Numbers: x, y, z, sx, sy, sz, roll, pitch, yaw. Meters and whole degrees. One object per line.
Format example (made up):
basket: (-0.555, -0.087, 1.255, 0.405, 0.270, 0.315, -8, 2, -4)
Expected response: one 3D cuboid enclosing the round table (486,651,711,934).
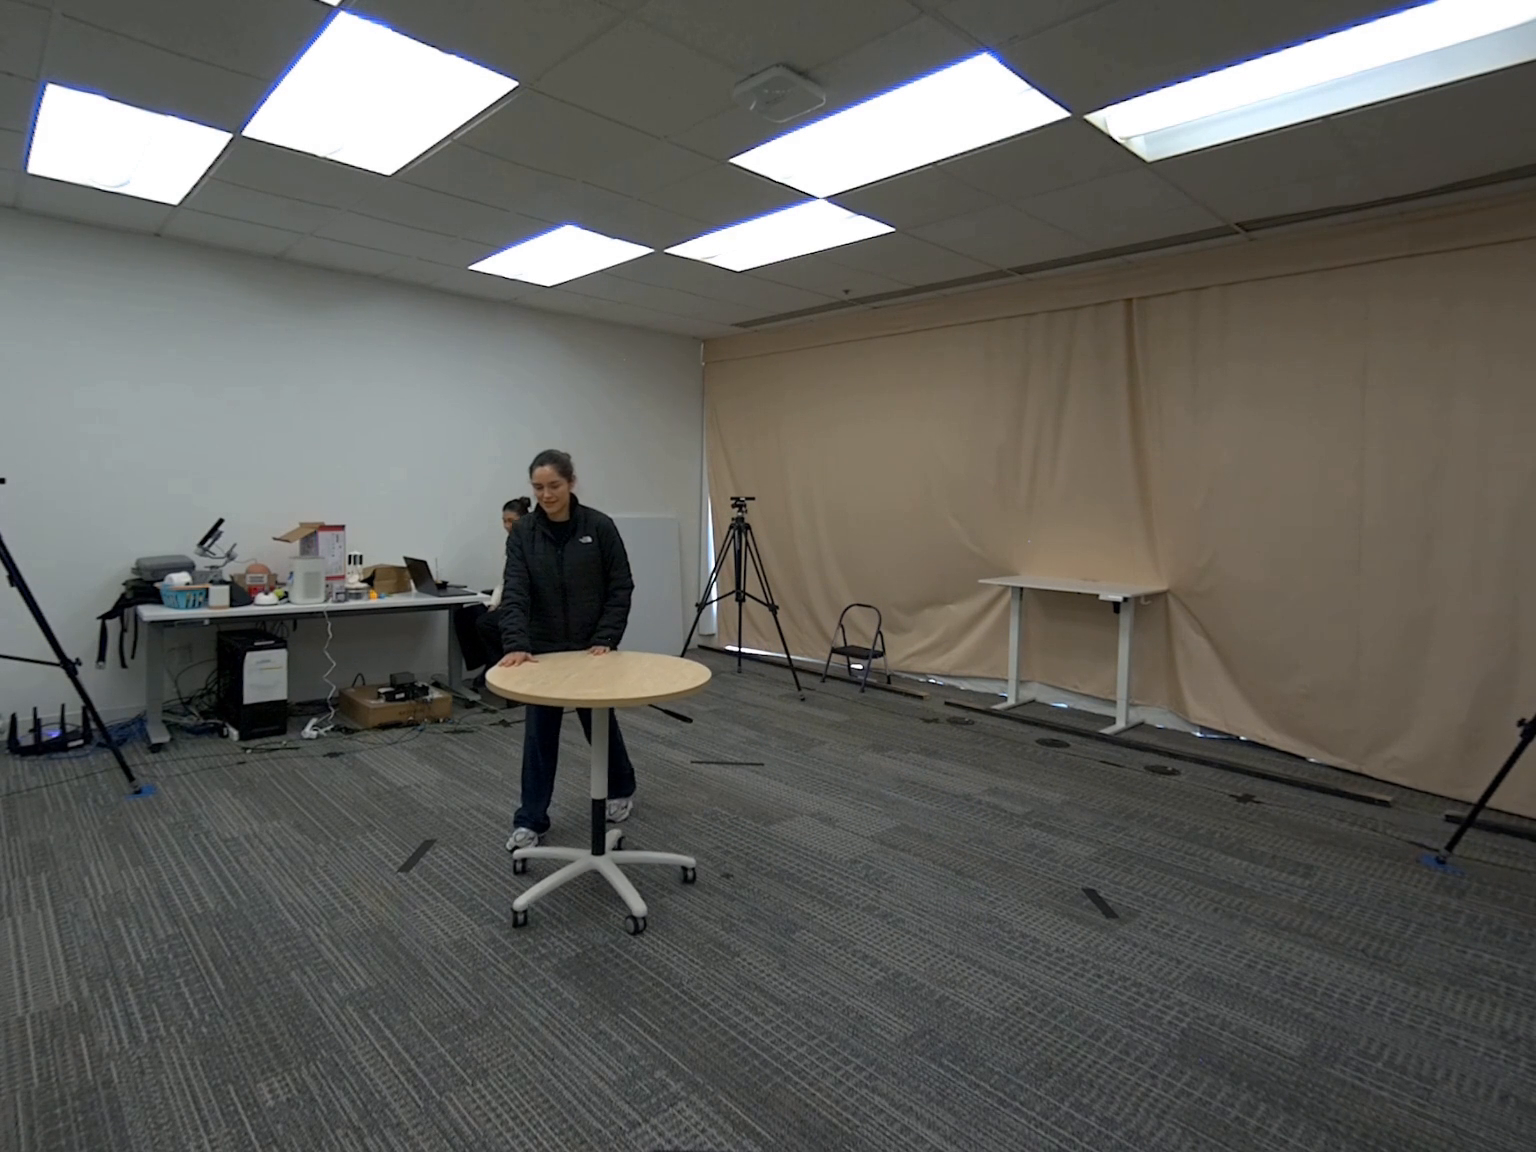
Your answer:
round table: (-0.598, 0.722, 2.924, 0.784, 0.784, 0.788, 1, 4, -1)
